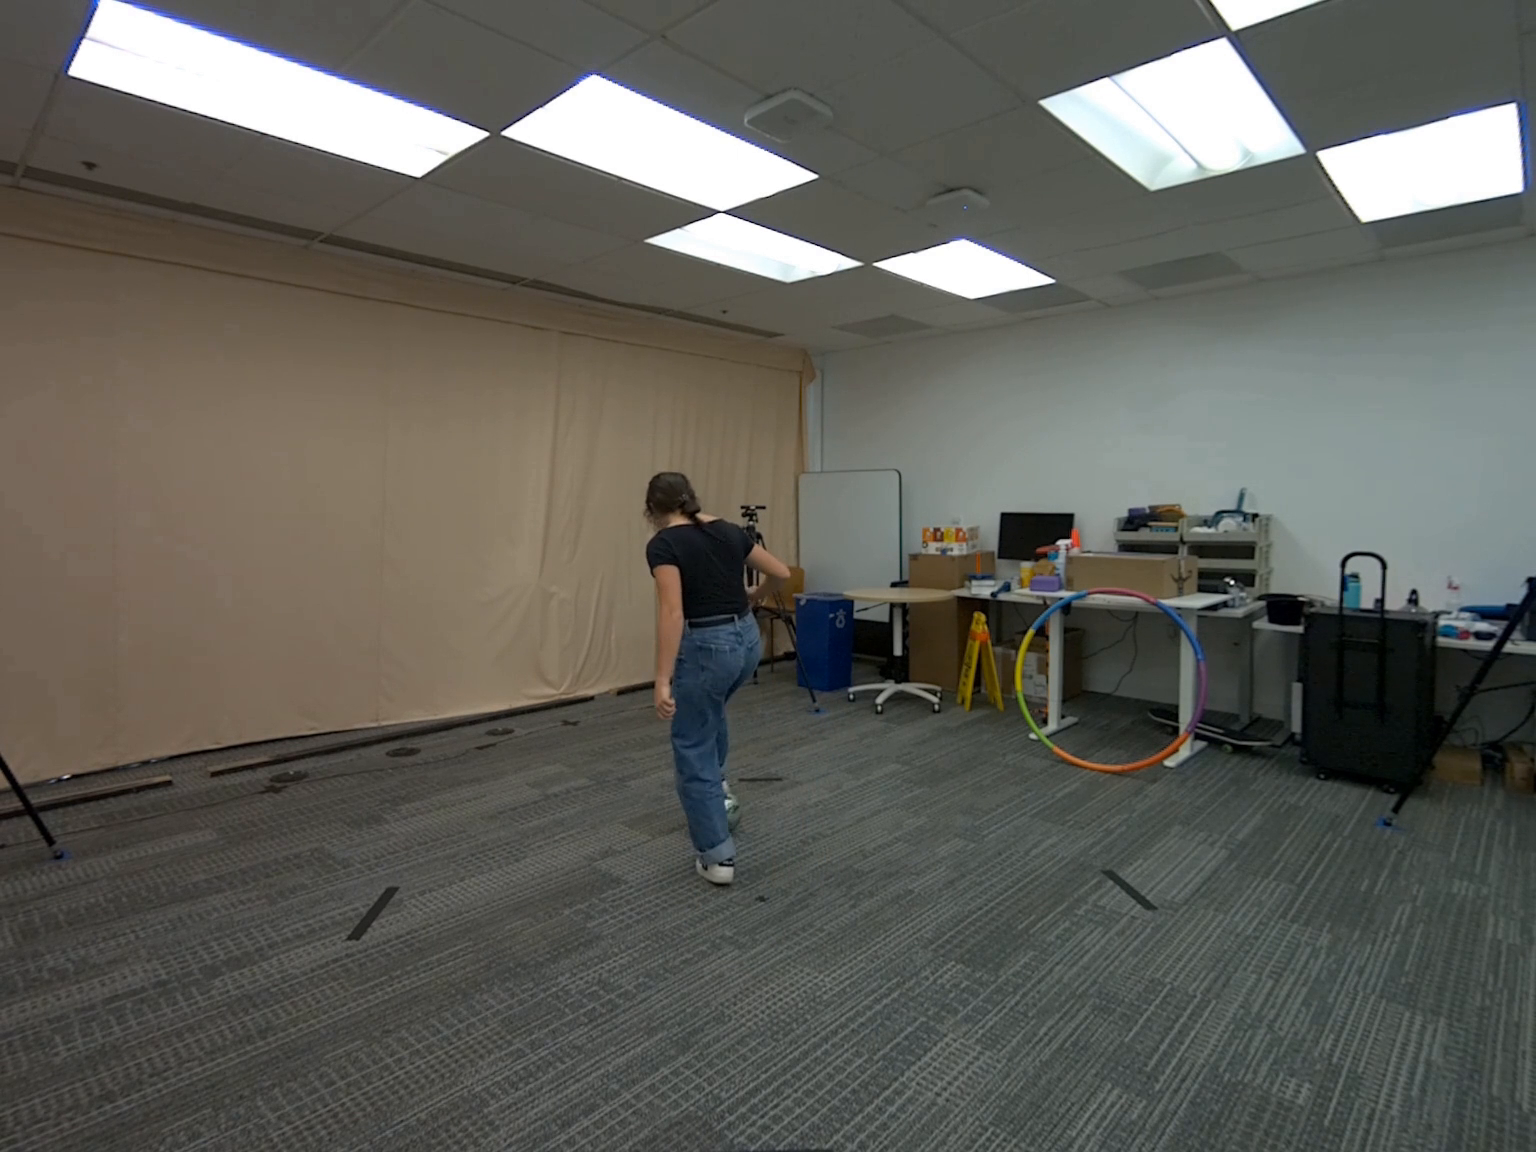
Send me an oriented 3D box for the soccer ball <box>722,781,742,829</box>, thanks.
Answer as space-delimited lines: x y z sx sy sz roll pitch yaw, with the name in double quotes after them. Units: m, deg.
-0.203 0.994 3.595 0.187 0.187 0.188 0 4 -2 "soccer ball"
